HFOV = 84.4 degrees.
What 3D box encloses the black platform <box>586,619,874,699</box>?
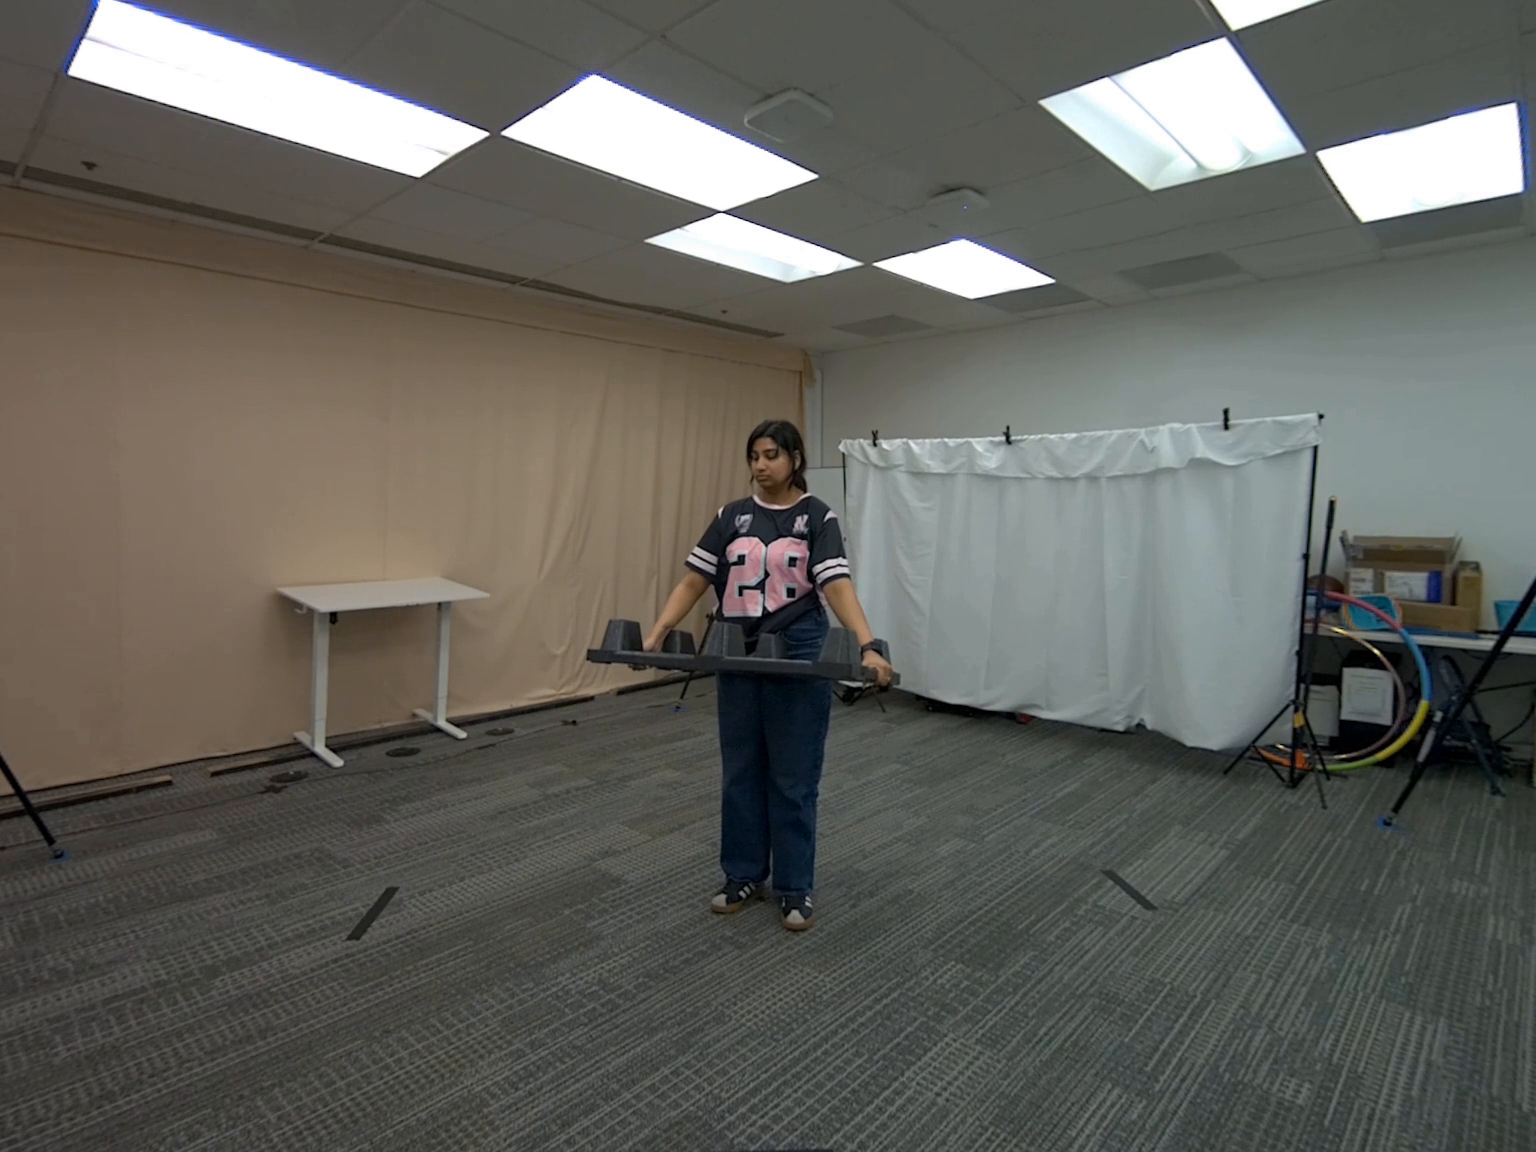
[{"bbox_3d":[-0.057,0.234,2.558,0.825,0.144,0.588,1,-9,23],"label":"black platform"}]
